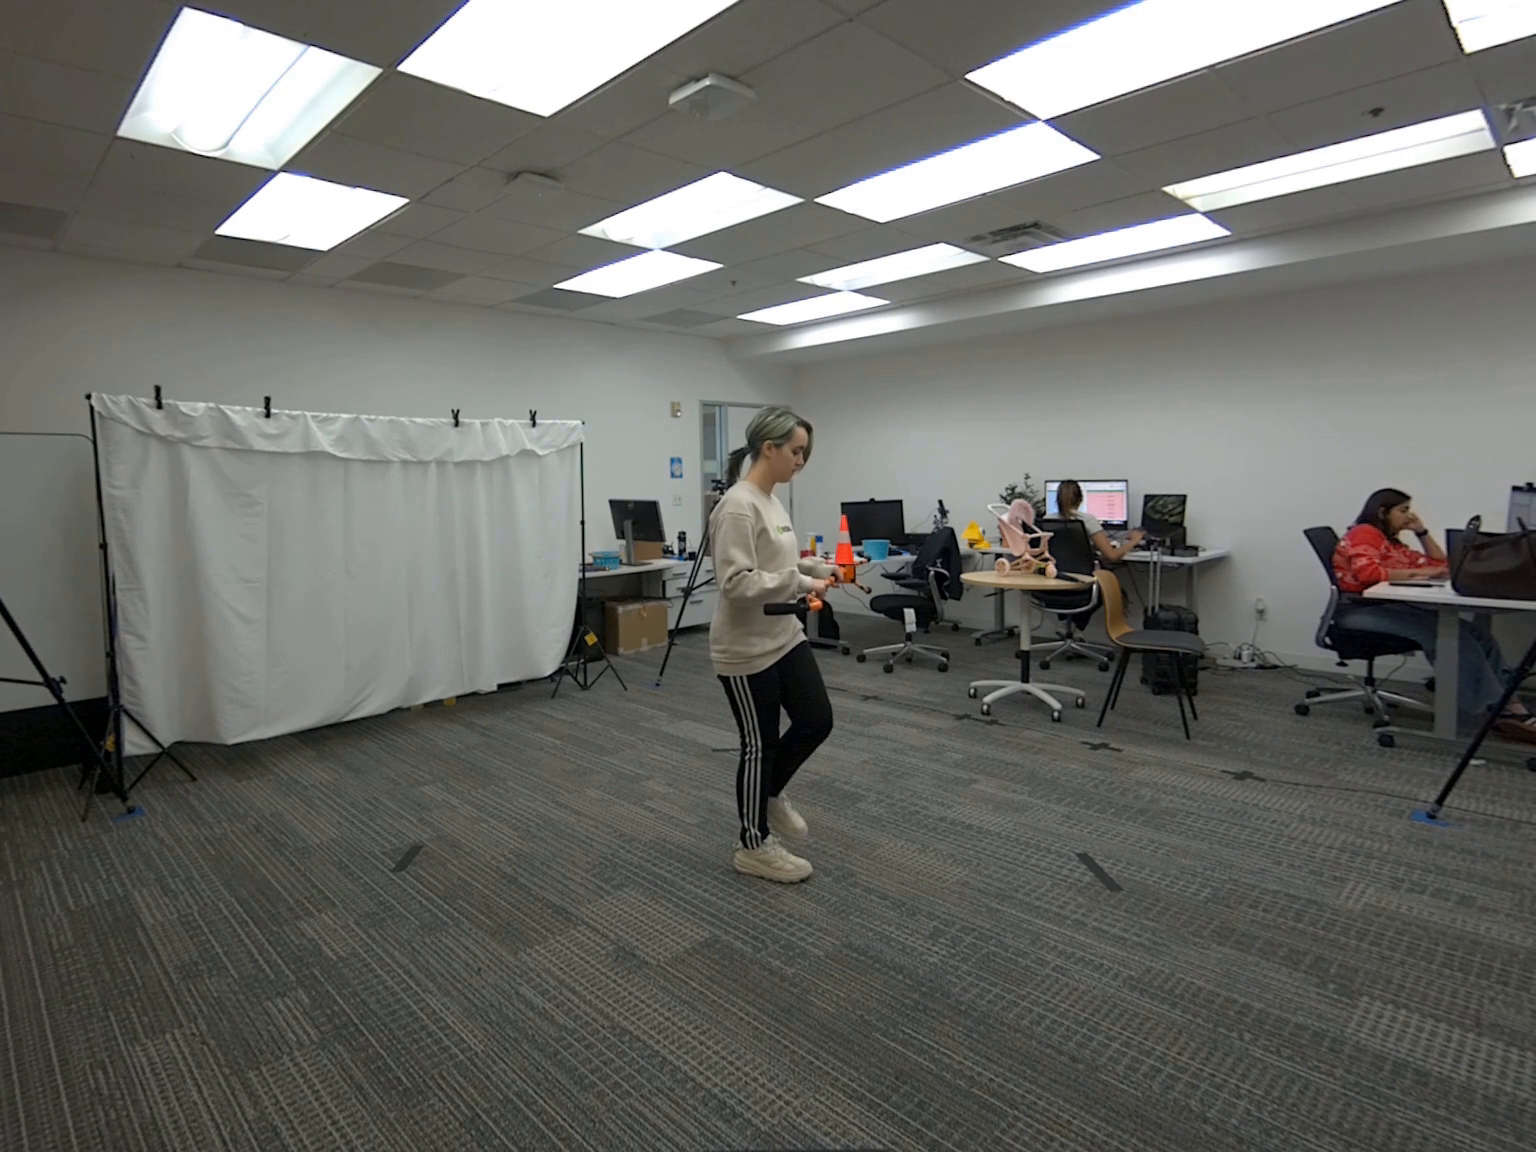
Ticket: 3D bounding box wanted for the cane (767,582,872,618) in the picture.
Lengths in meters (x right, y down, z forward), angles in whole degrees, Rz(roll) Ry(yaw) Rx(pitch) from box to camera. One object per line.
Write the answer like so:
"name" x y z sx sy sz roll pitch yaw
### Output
"cane" 0.226 0.051 2.901 0.209 0.151 0.899 -1 6 13
